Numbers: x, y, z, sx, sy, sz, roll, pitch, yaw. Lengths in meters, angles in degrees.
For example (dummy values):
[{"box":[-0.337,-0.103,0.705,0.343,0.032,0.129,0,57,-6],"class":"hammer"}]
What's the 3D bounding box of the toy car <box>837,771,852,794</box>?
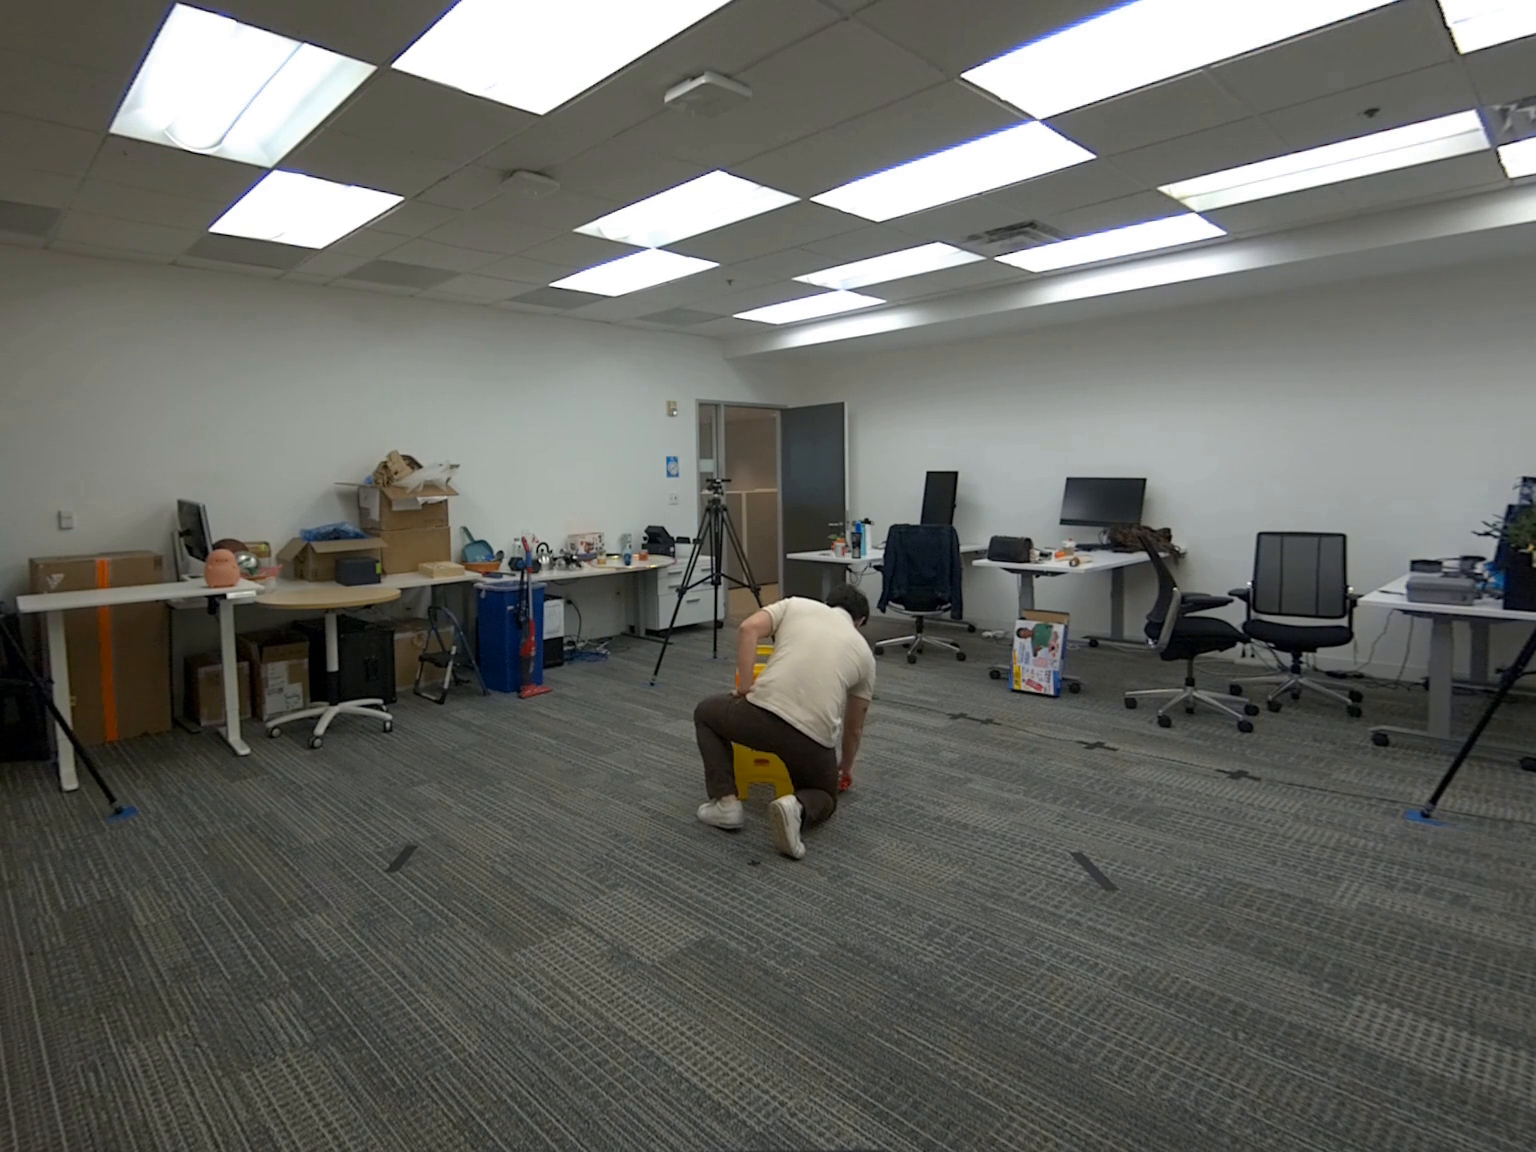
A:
[{"box":[0.243,0.931,3.842,0.257,0.083,0.129,-9,5,13],"class":"toy car"}]
